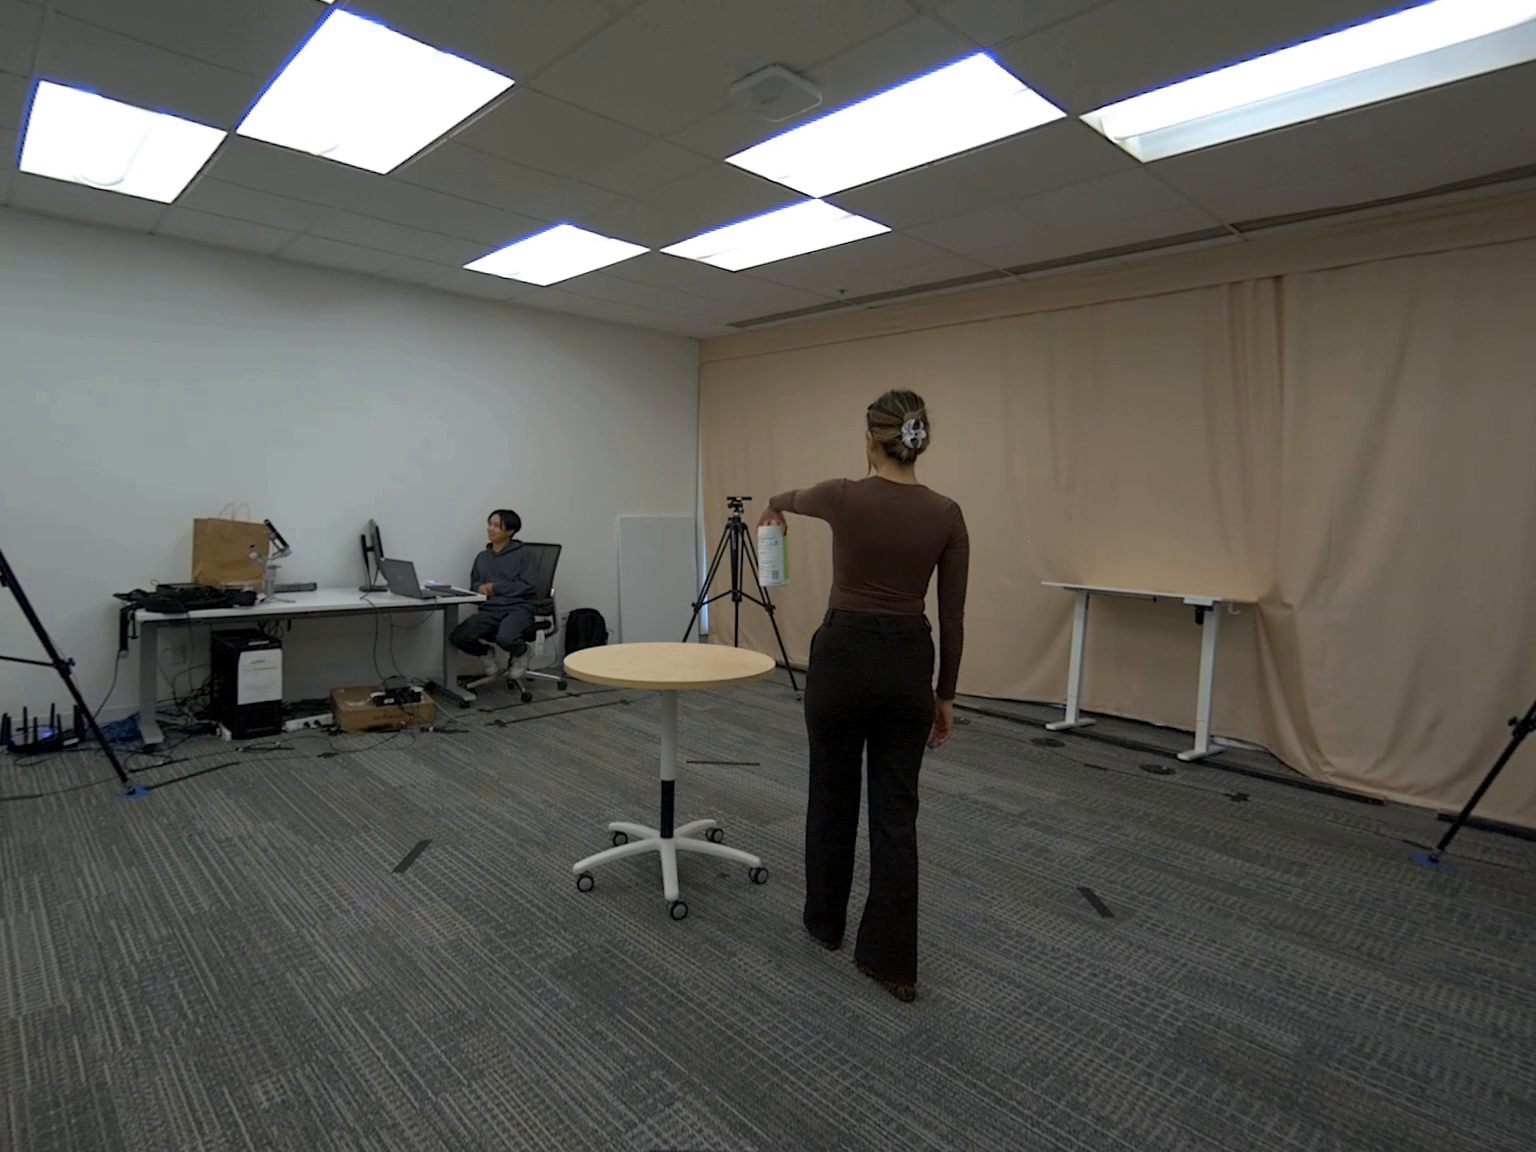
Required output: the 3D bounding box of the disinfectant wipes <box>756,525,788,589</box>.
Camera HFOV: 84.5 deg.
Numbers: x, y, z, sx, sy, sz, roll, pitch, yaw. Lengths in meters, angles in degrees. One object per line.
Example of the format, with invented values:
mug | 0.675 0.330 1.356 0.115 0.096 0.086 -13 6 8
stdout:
disinfectant wipes | 0.016 -0.073 3.007 0.118 0.217 0.118 -2 3 -1
